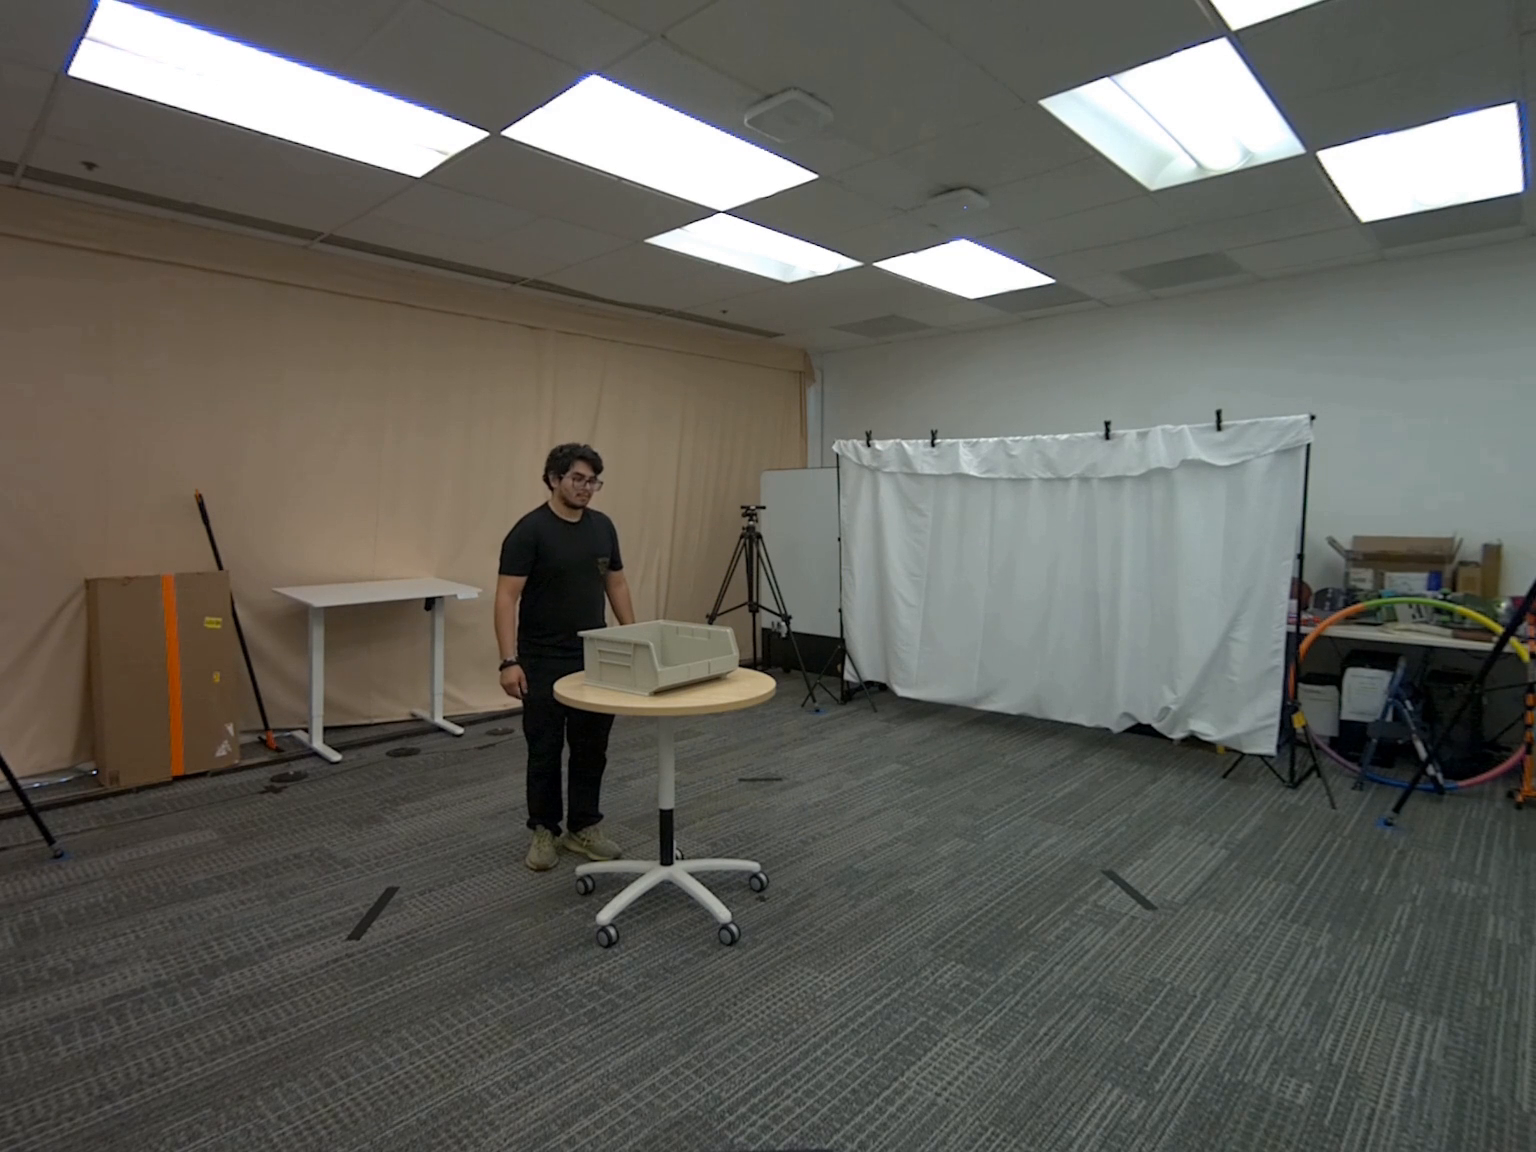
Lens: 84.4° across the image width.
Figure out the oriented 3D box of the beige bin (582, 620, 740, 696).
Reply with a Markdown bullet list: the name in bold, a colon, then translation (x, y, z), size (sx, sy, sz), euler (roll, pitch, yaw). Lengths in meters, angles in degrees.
- **beige bin**: translation (-0.371, 0.280, 2.929), size (0.389, 0.189, 0.410), euler (1, 4, 38)
